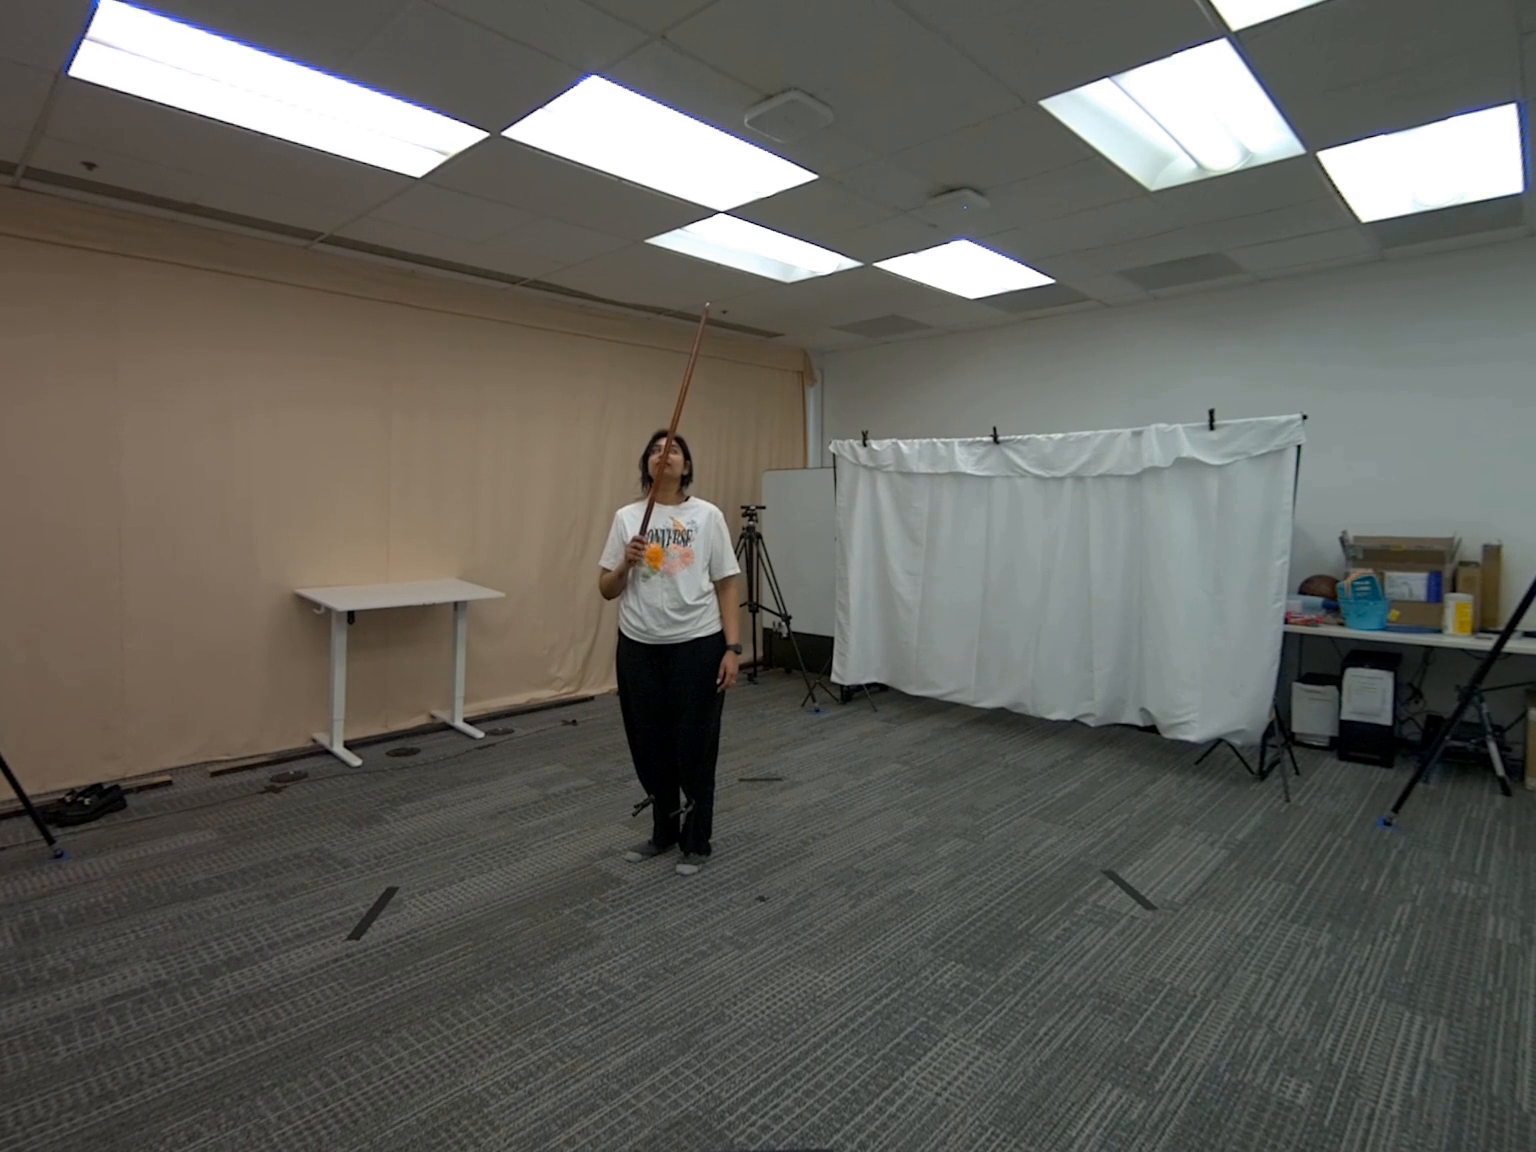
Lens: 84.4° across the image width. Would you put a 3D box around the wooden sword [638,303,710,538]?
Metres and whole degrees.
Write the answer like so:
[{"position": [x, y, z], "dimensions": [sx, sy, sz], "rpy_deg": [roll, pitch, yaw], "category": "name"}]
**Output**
[{"position": [-0.356, -0.529, 3.107], "dimensions": [0.023, 1.026, 0.053], "rpy_deg": [19, -6, -31], "category": "wooden sword"}]
